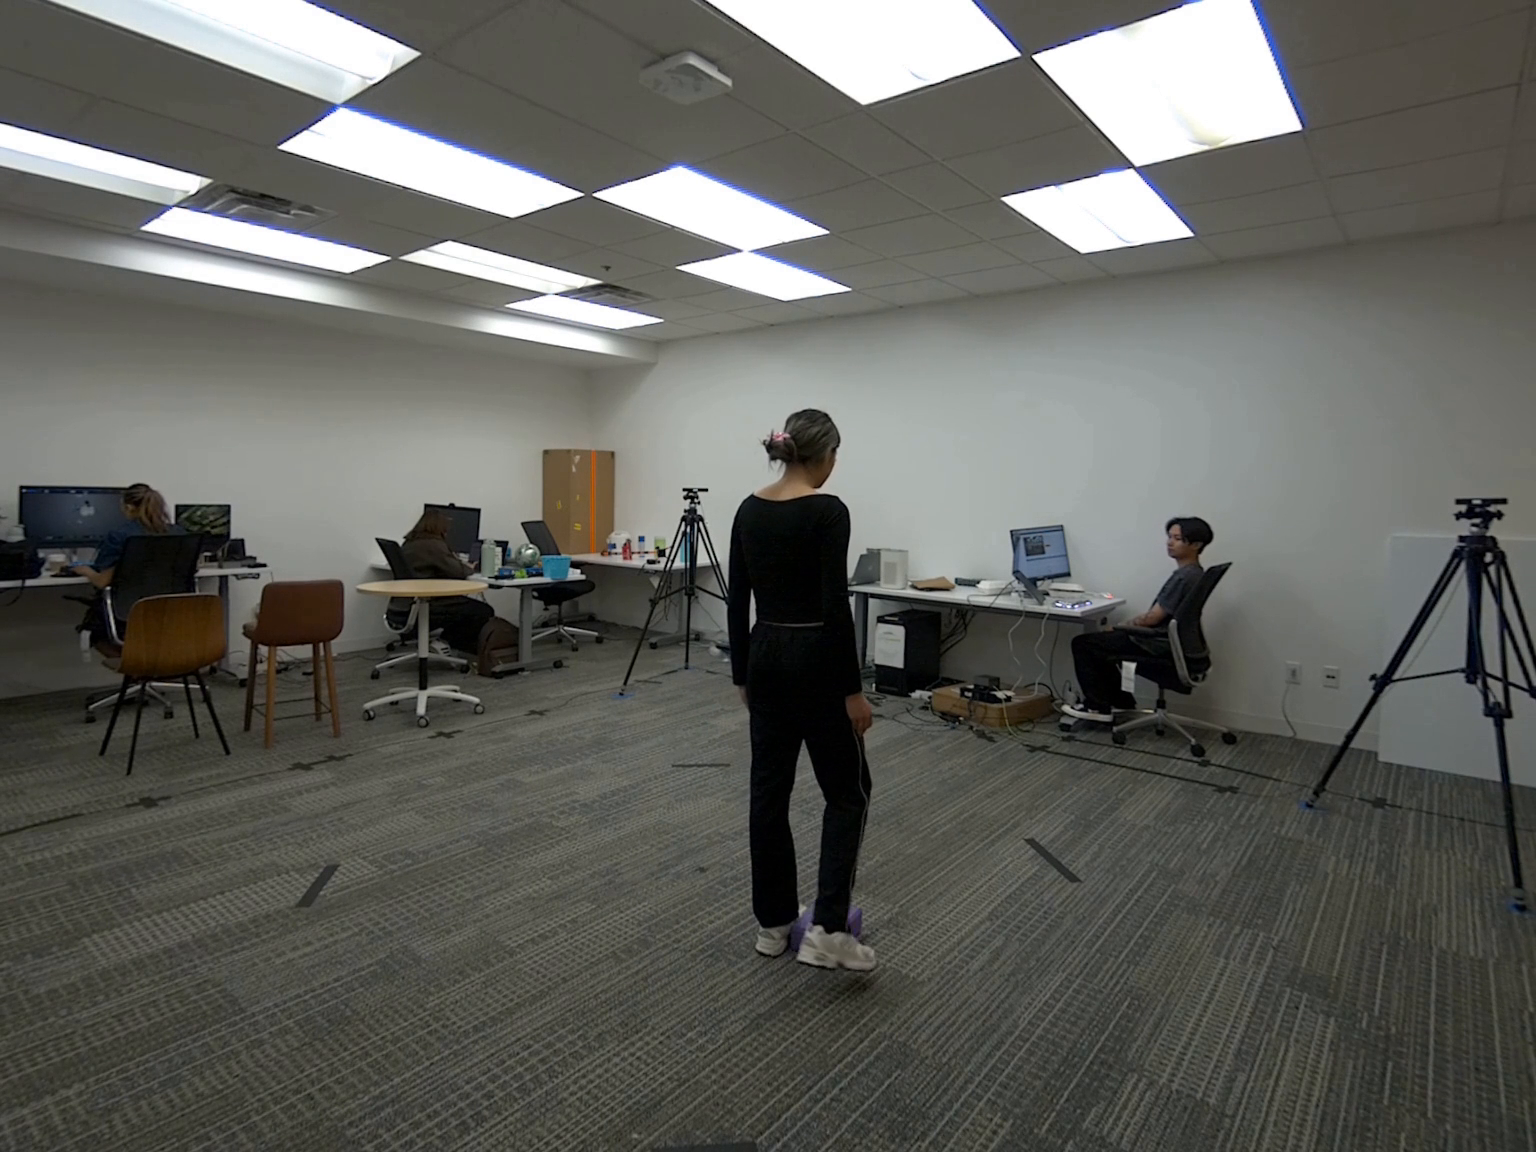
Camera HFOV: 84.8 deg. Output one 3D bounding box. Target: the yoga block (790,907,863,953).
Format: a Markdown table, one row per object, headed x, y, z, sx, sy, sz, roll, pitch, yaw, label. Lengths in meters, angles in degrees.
| x | y | z | sx | sy | sz | roll | pitch | yaw | label |
| --- | --- | --- | --- | --- | --- | --- | --- | --- | --- |
| 0.177 | 1.086 | 2.629 | 0.153 | 0.076 | 0.224 | 3 | 6 | 27 | yoga block |
